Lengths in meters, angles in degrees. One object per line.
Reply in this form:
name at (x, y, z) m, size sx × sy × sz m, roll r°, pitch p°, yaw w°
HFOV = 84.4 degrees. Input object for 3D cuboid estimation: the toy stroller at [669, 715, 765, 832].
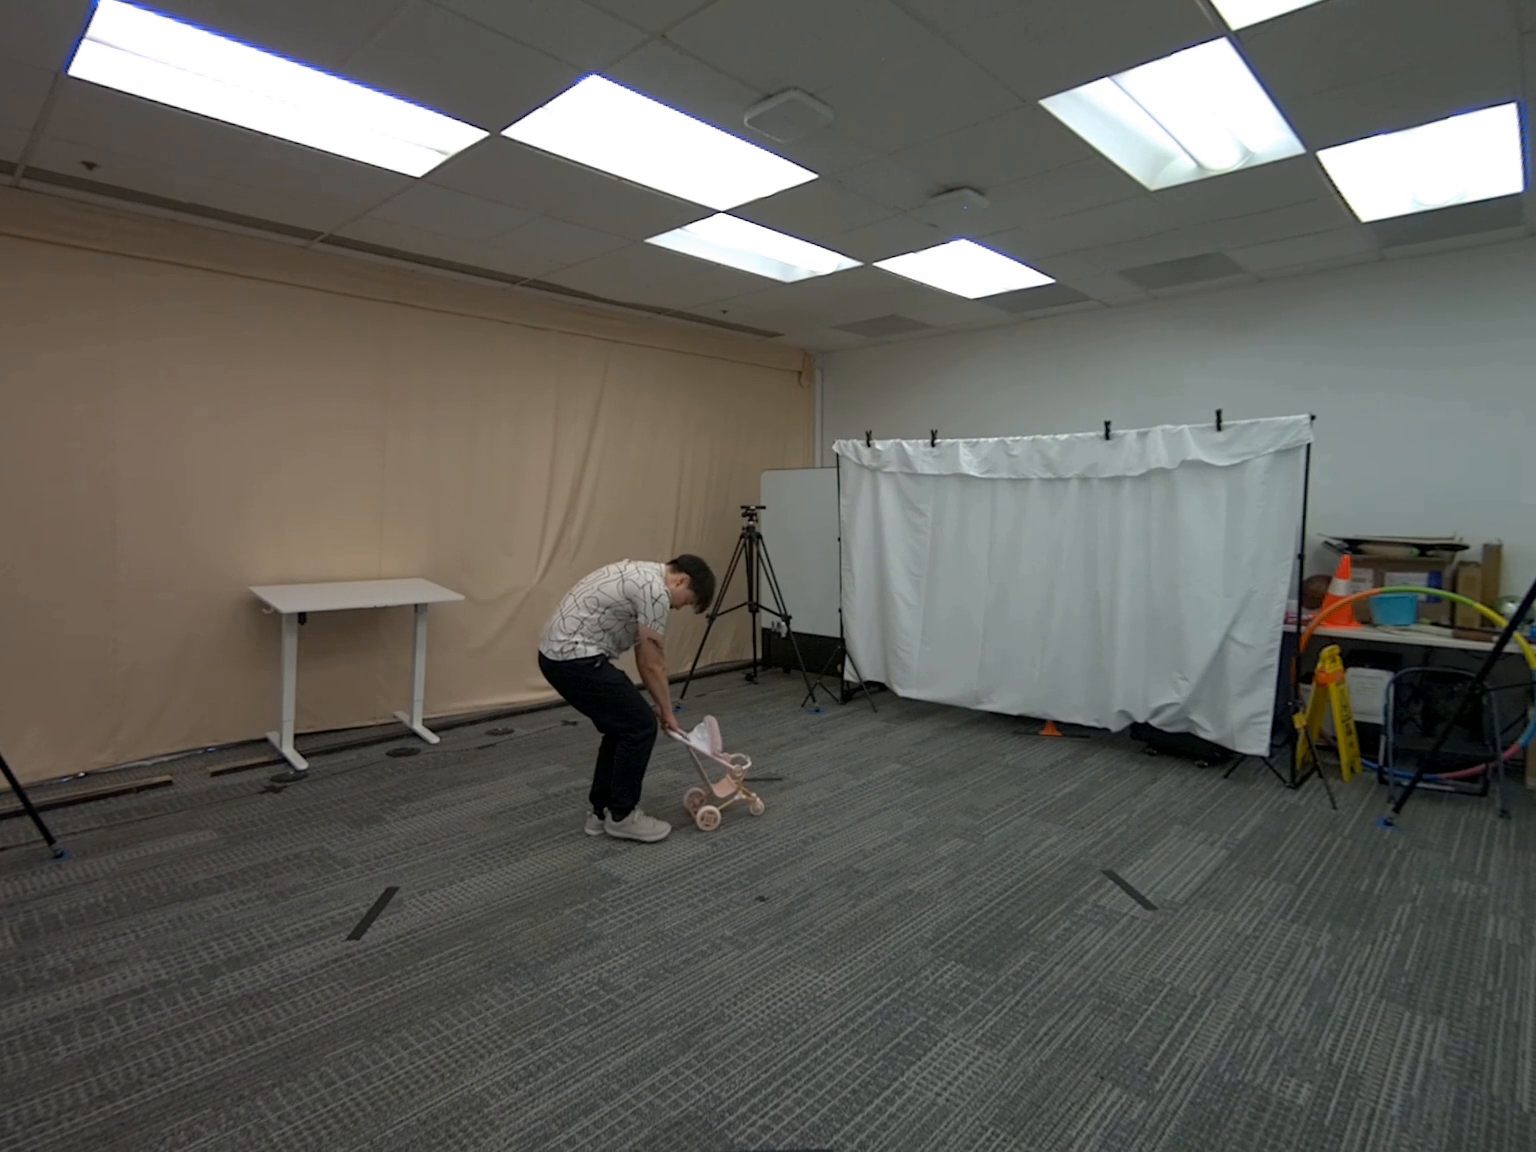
toy stroller at (-0.233, 0.858, 3.730) m, size 0.338 × 0.532 × 0.285 m, roll -17°, pitch 6°, yaw -11°
